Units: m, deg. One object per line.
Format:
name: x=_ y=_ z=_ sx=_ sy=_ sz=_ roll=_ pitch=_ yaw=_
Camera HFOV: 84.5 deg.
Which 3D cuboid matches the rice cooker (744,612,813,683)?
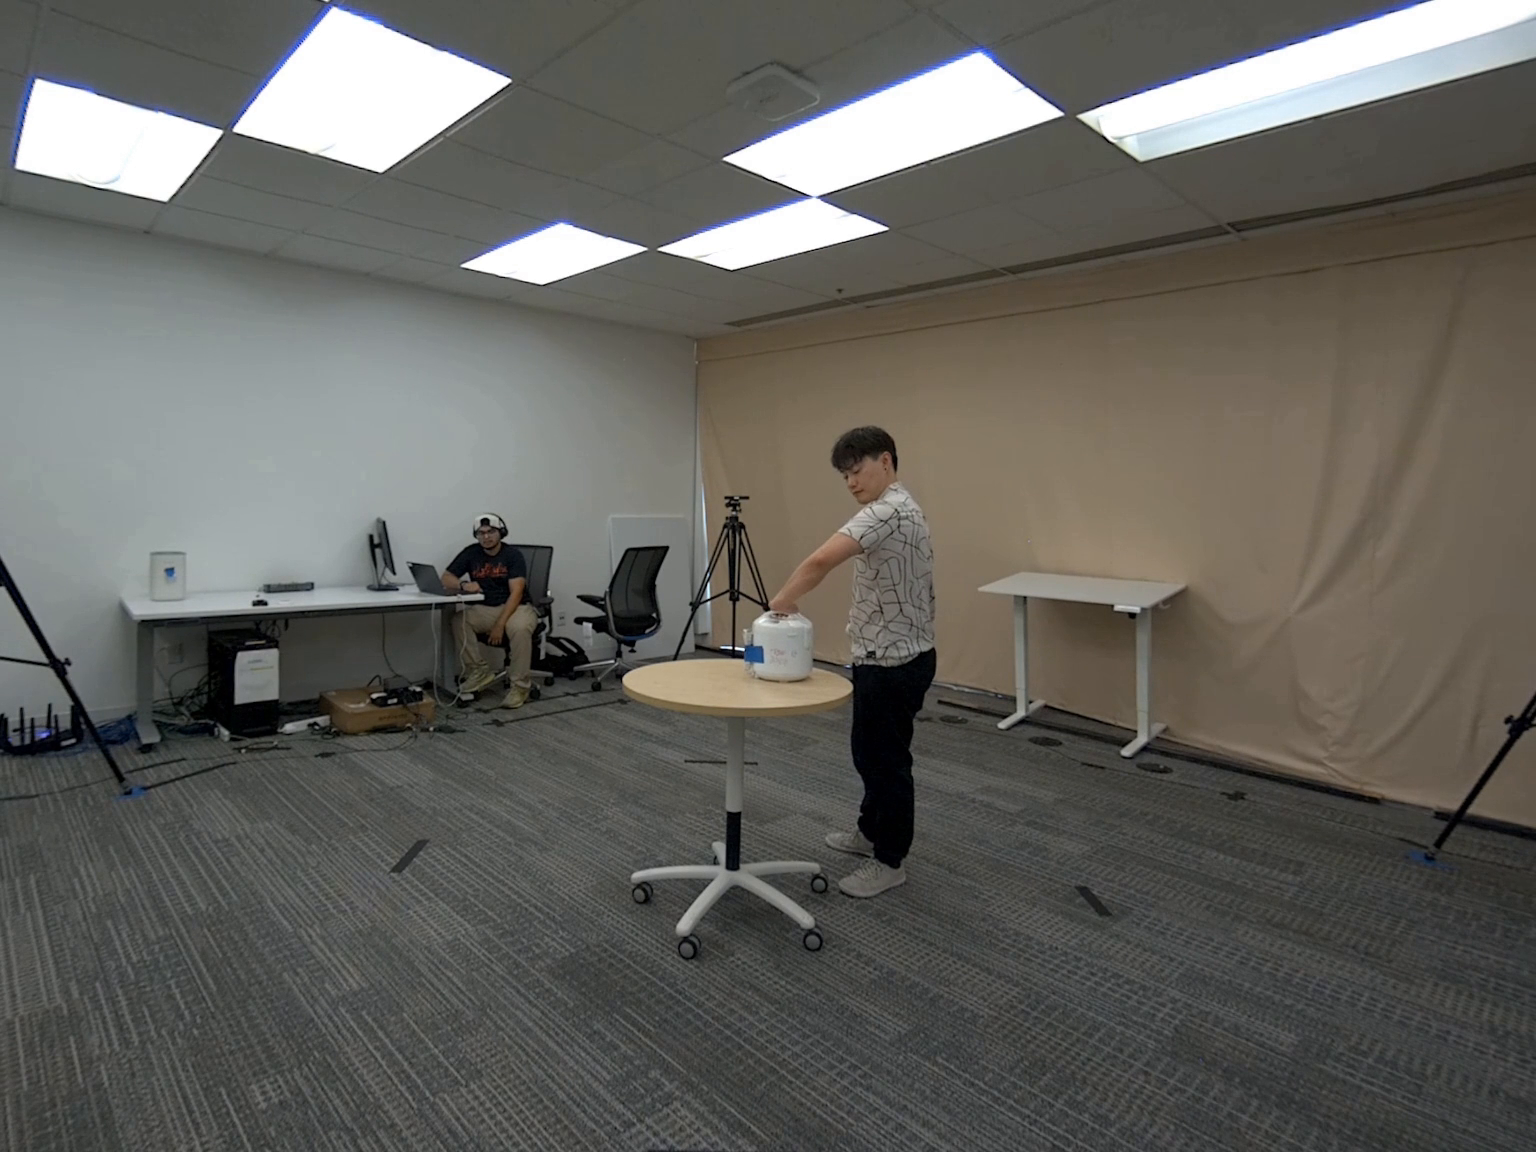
rice cooker: x=0.044 y=0.231 z=2.880 sx=0.226 sy=0.232 sz=0.213 roll=6 pitch=8 yaw=36
